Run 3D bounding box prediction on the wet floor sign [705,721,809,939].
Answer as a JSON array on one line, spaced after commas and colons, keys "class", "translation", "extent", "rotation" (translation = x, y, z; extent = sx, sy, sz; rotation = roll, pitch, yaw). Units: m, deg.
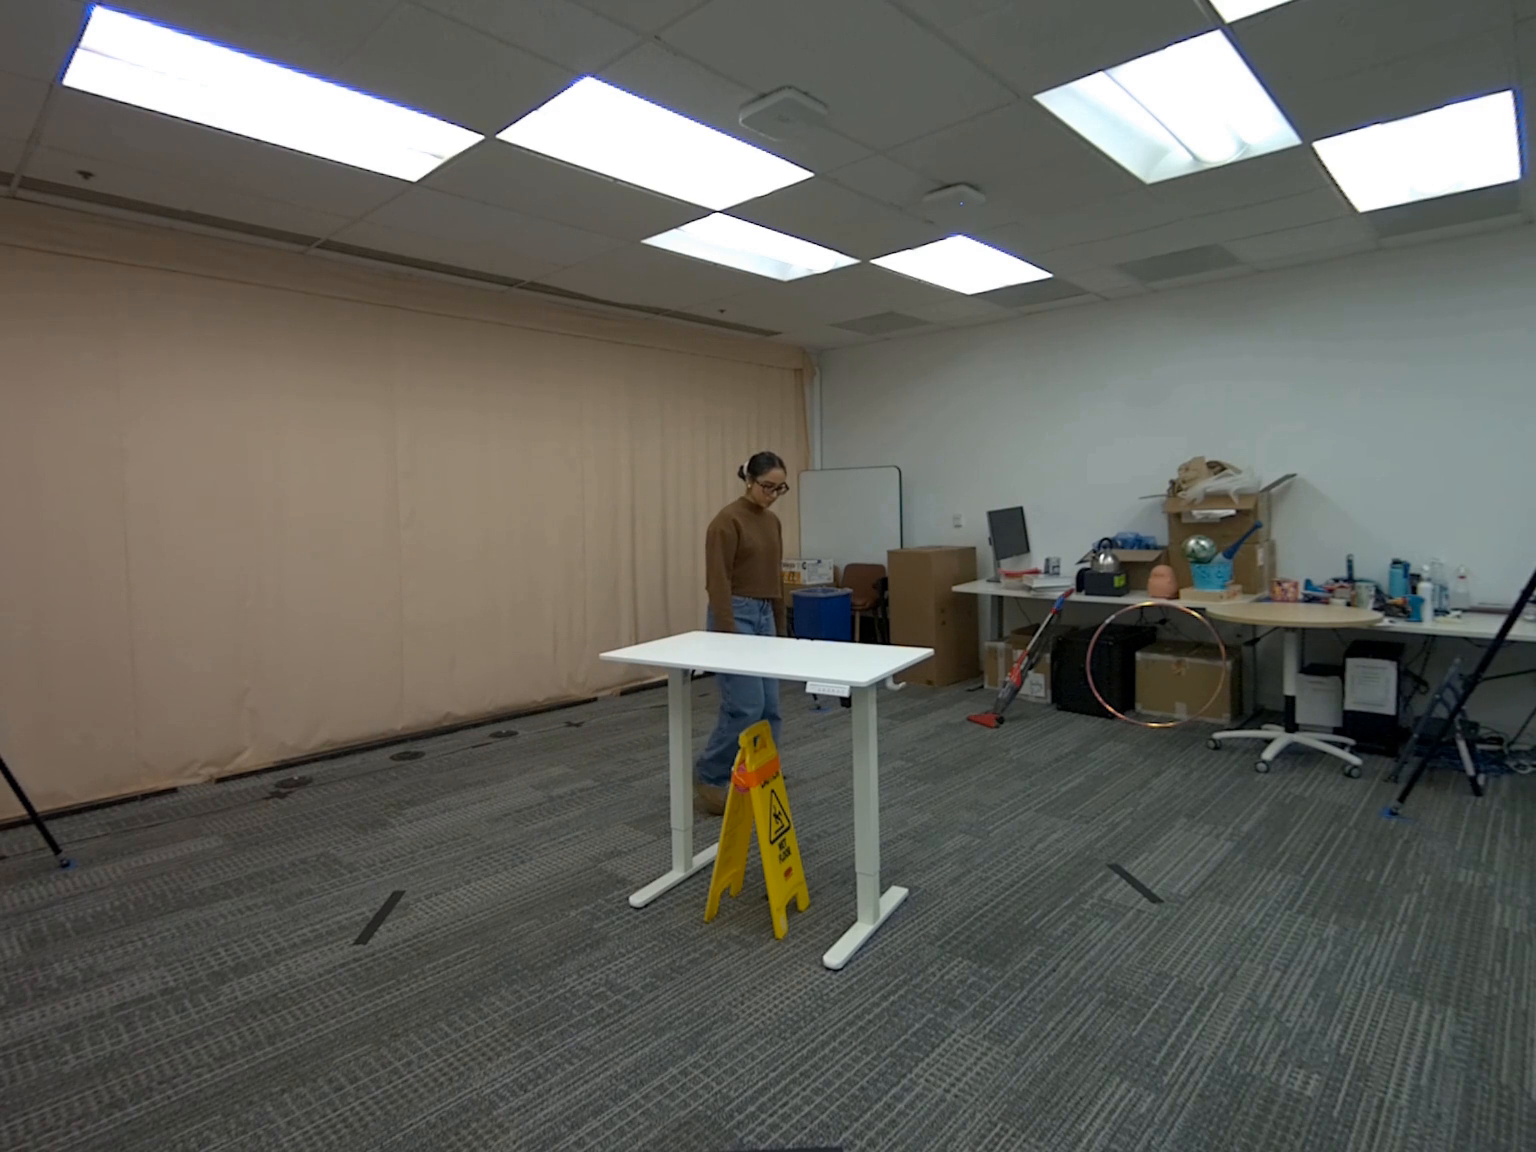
[{"class": "wet floor sign", "translation": [-0.041, 0.824, 2.856], "extent": [0.297, 0.645, 0.276], "rotation": [0, 3, 24]}]
